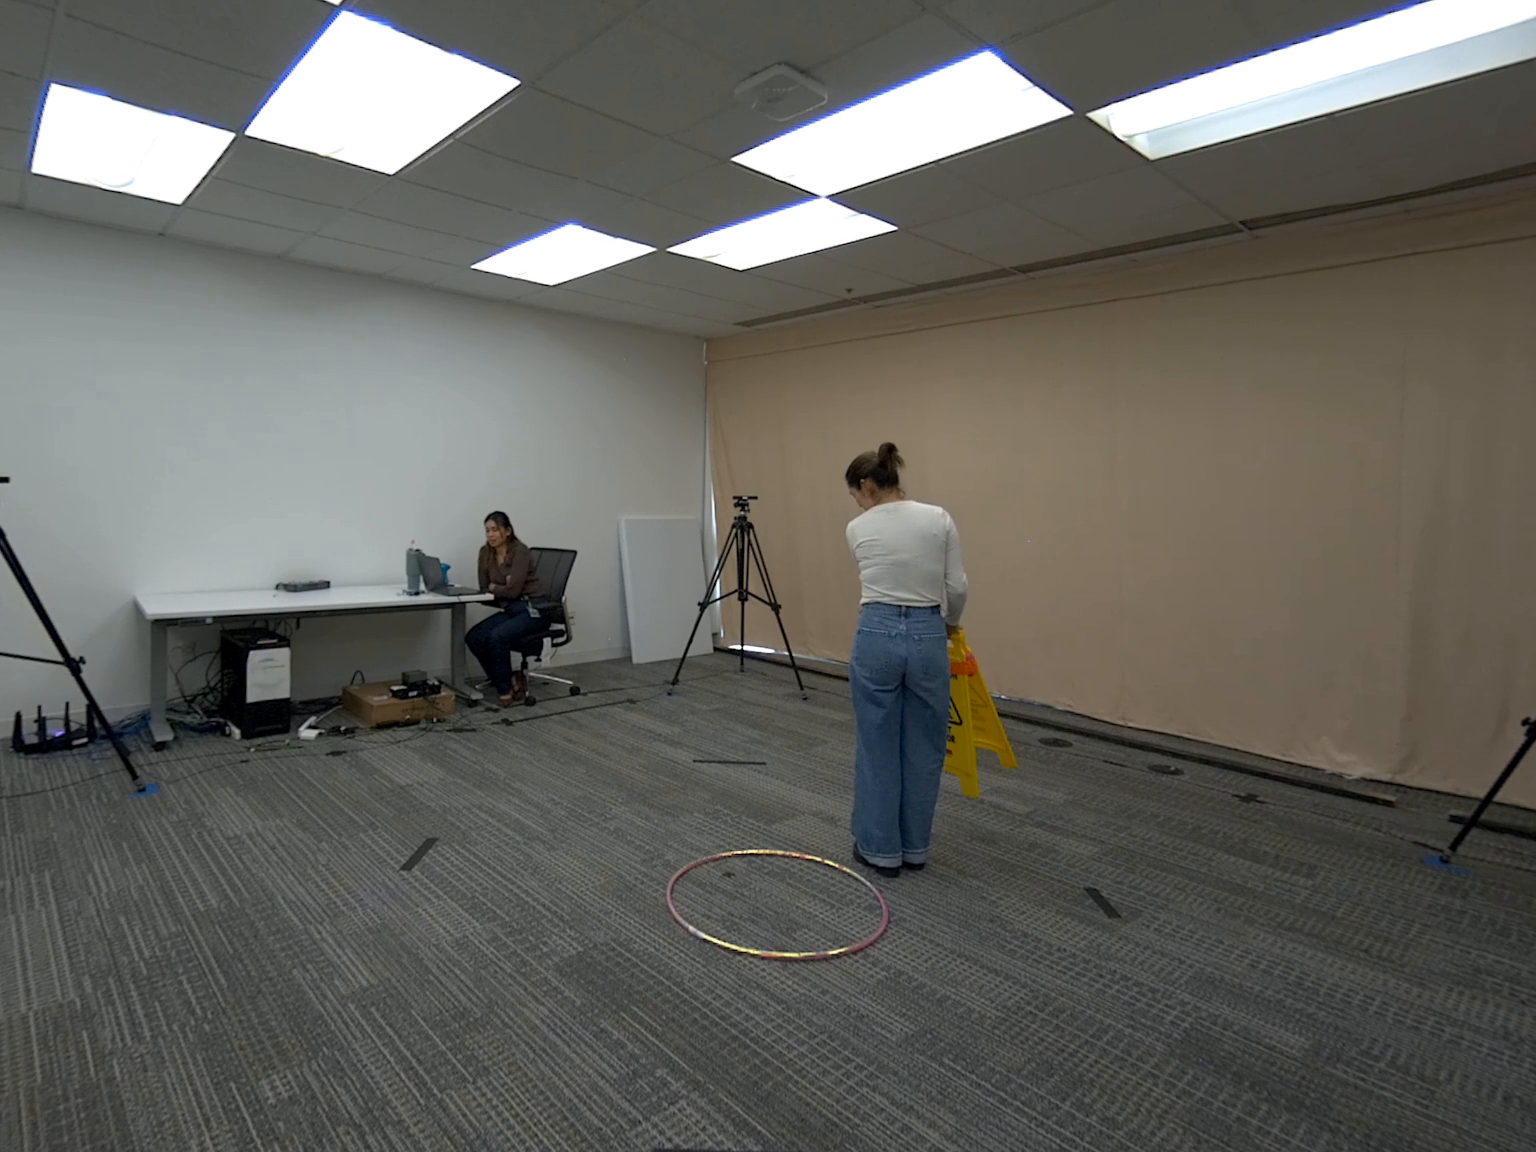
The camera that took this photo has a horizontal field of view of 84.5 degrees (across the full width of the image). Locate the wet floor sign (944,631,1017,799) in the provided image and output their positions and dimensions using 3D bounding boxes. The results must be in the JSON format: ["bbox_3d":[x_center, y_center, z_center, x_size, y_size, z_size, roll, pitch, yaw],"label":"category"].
[{"bbox_3d":[0.750,0.519,3.436,0.285,0.640,0.289,-19,13,-35],"label":"wet floor sign"}]
